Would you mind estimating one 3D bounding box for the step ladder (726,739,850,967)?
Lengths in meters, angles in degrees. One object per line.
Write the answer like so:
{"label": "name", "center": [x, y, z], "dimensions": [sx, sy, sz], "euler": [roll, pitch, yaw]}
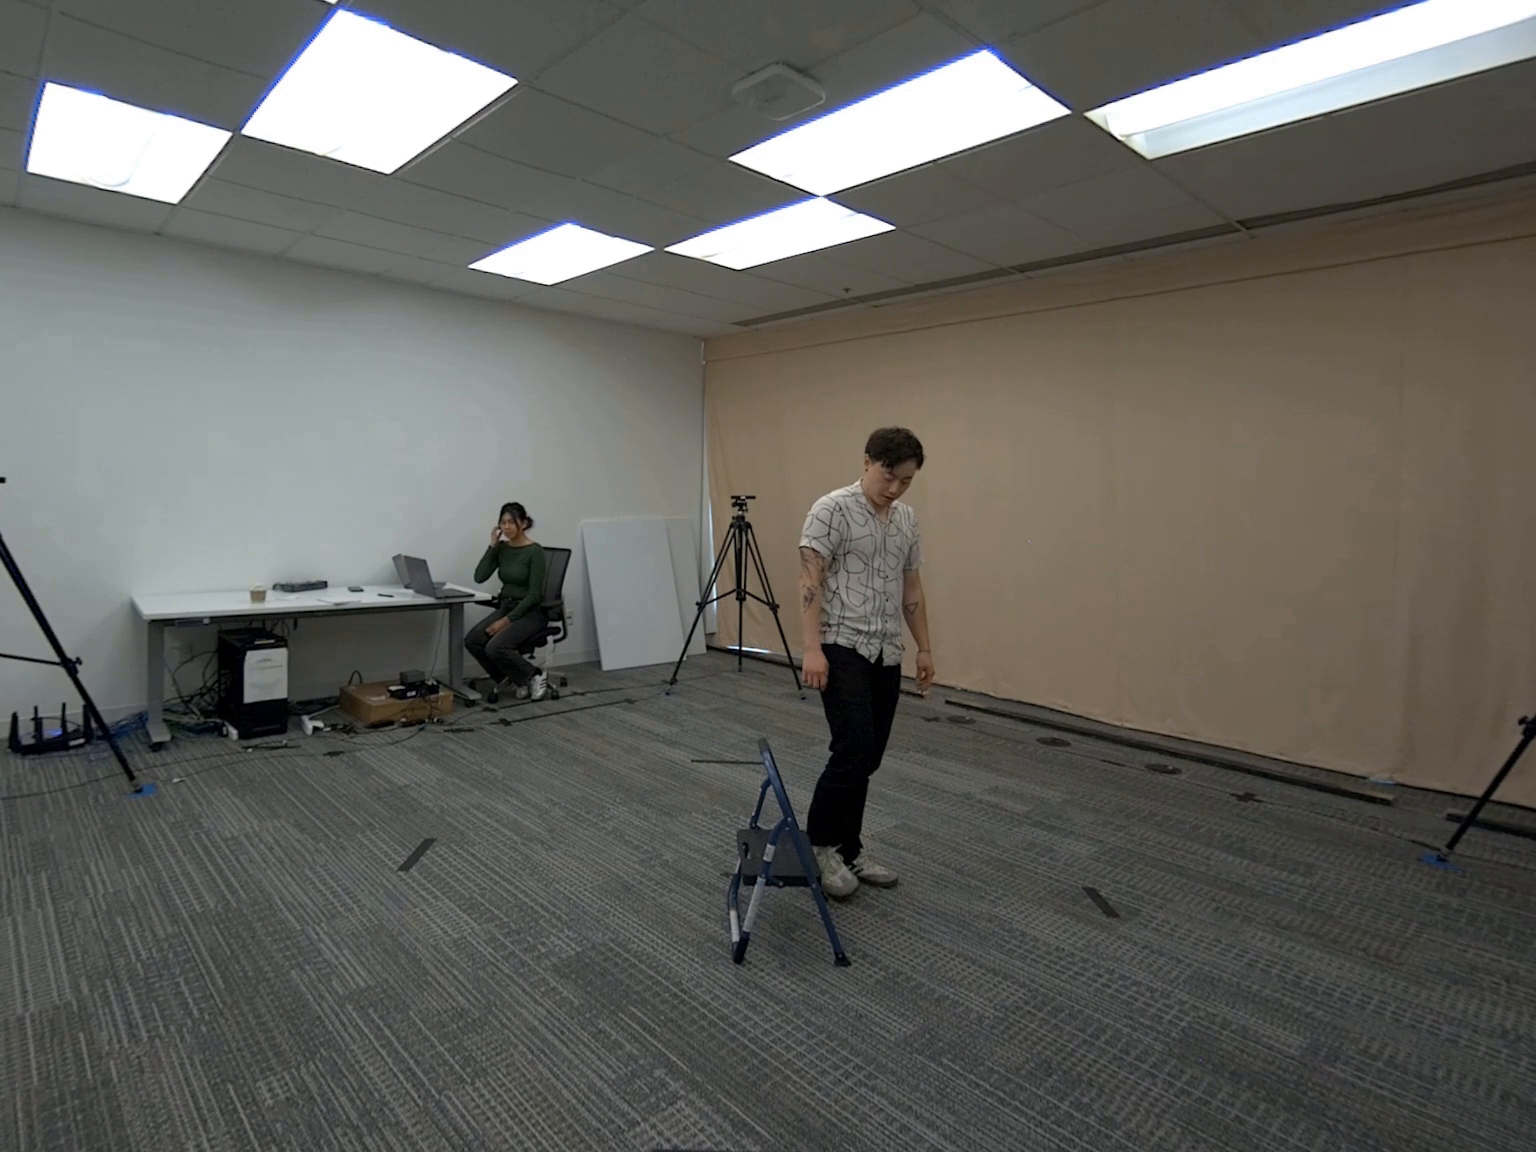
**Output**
{"label": "step ladder", "center": [0.047, 0.842, 2.694], "dimensions": [0.348, 0.604, 0.433], "euler": [1, 4, -6]}
